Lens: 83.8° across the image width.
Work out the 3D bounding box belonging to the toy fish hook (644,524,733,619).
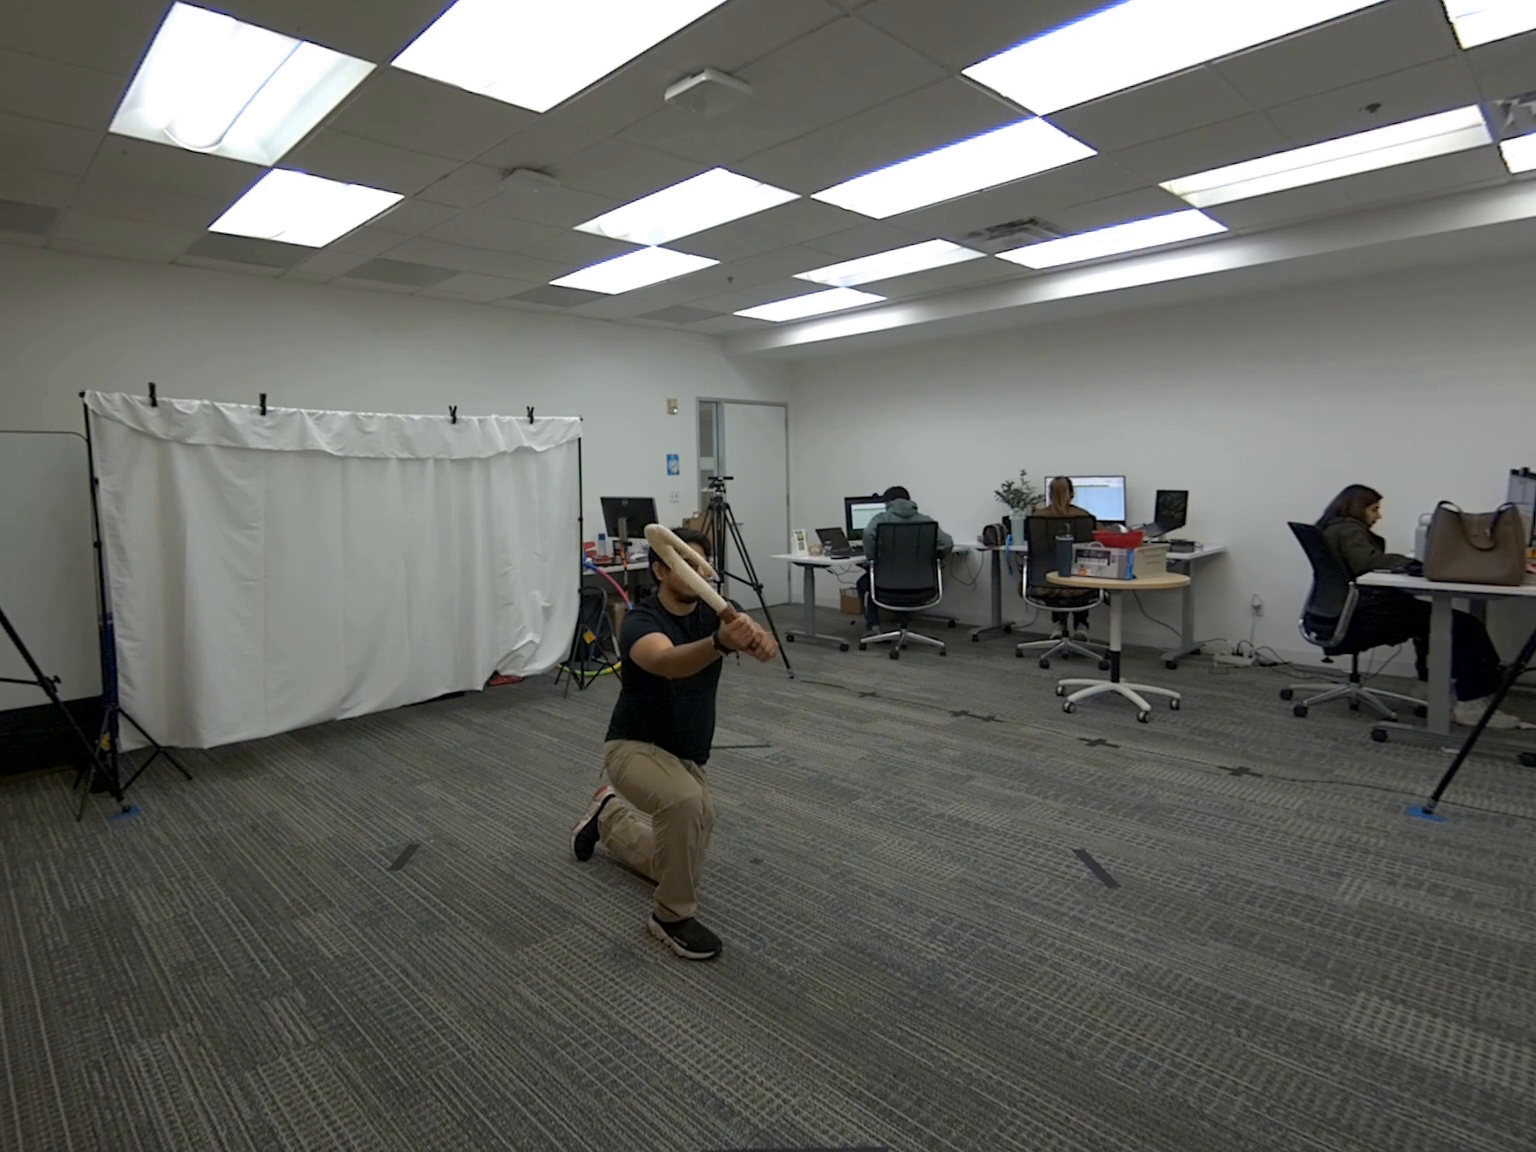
[{"bbox_3d":[-0.124,0.061,2.204,0.048,0.495,0.230,-46,18,-12],"label":"toy fish hook"}]
